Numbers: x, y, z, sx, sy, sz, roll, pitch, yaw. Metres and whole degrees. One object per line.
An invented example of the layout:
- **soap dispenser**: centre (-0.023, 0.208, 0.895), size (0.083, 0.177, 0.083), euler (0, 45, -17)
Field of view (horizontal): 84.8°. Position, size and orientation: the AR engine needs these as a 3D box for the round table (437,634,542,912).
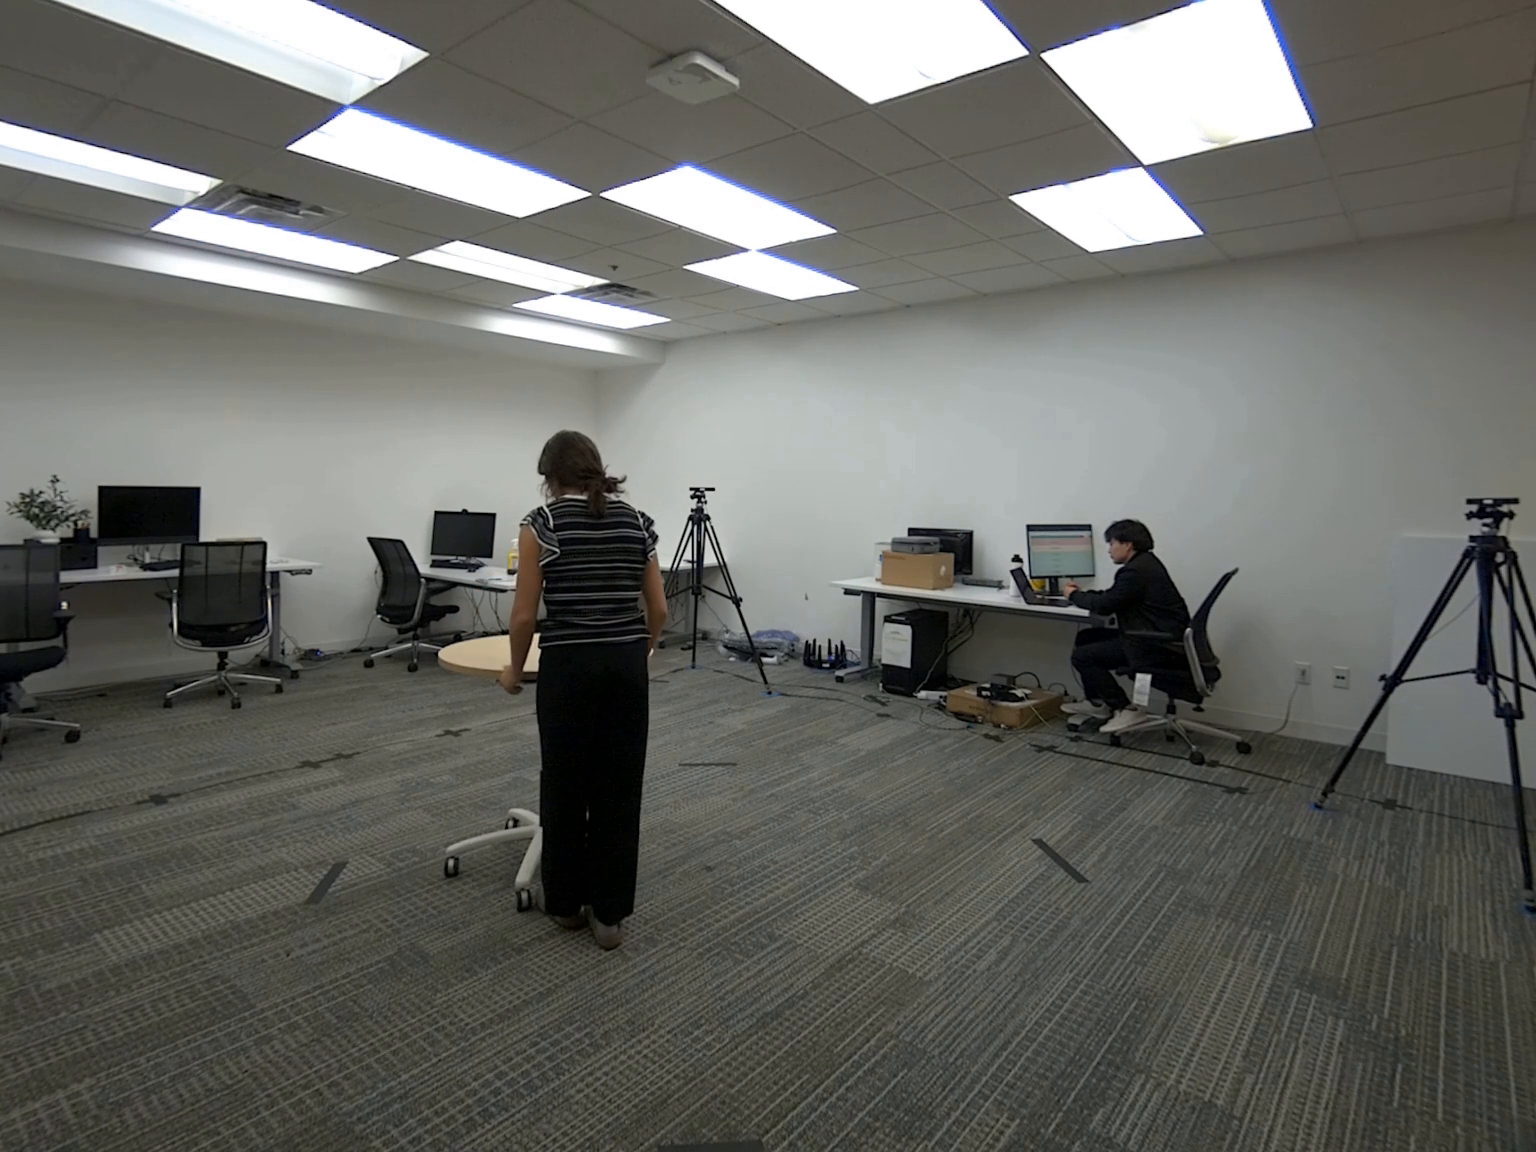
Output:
- **round table**: centre (-0.821, 0.664, 3.112), size (0.763, 0.792, 0.767), euler (1, 4, -2)
